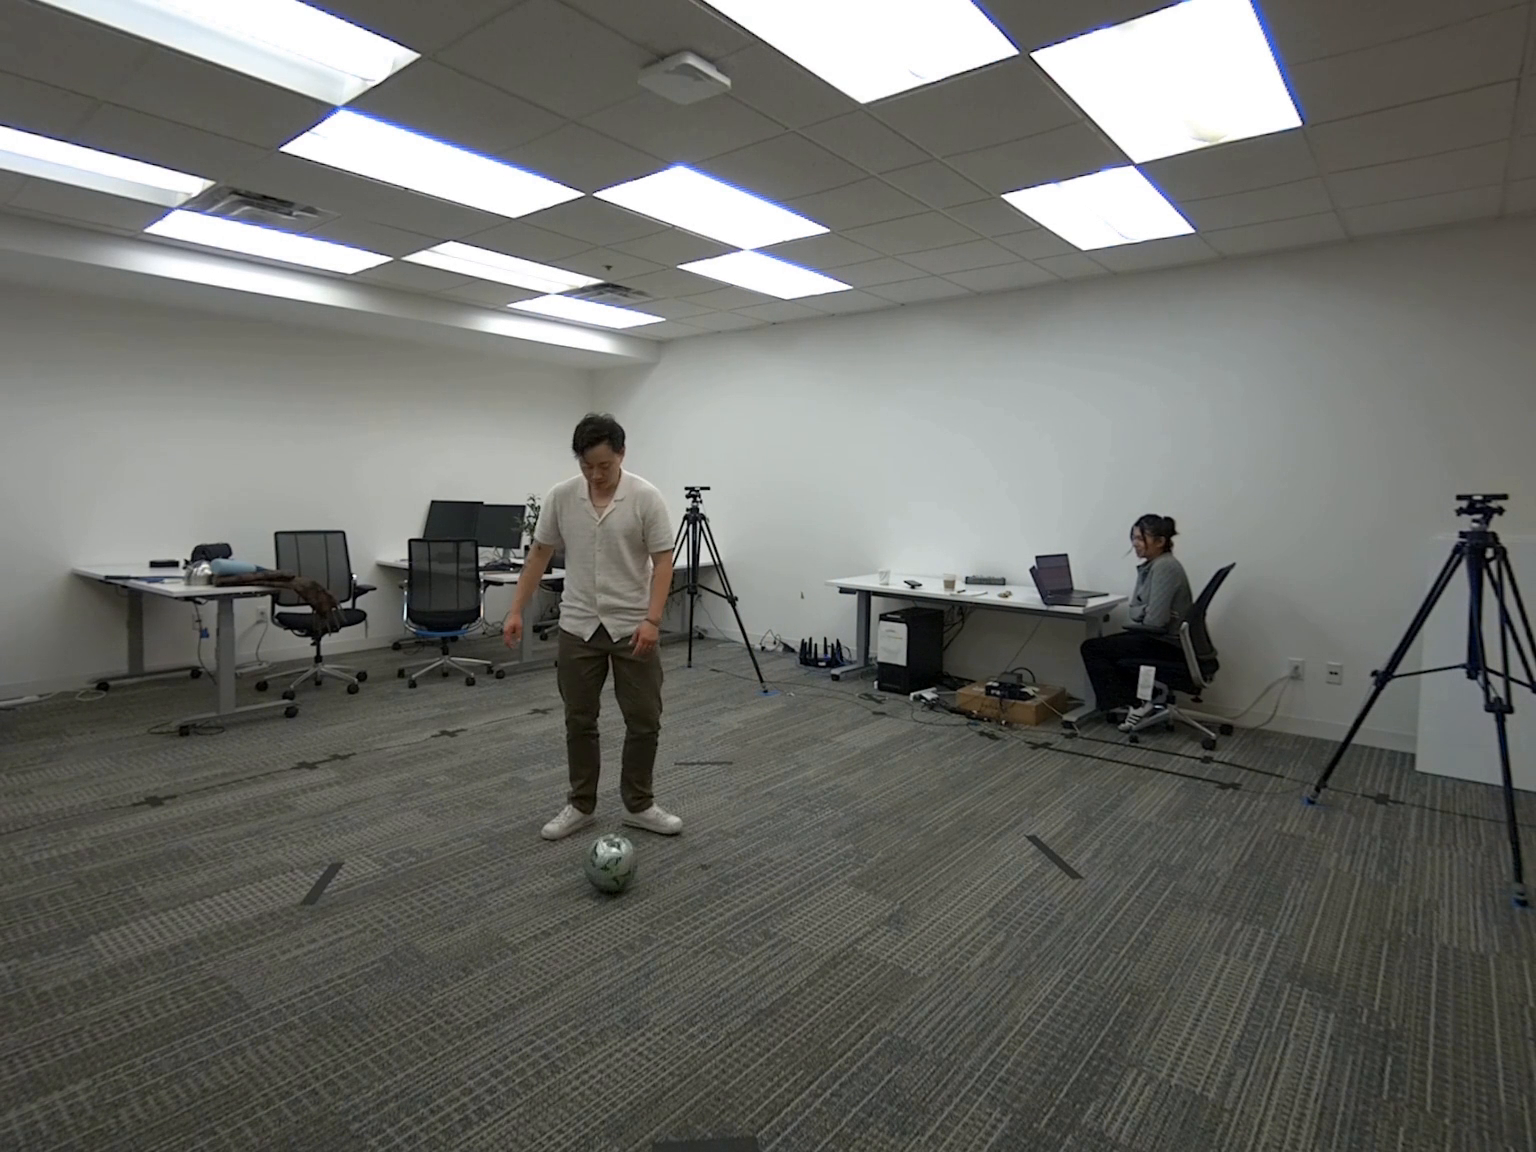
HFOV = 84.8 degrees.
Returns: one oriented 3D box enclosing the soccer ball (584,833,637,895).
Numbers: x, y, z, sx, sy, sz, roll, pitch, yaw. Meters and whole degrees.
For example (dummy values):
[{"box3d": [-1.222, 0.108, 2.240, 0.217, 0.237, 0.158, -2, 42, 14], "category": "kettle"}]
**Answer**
[{"box3d": [-0.551, 0.984, 2.926, 0.187, 0.187, 0.188, 1, 4, -2], "category": "soccer ball"}]
